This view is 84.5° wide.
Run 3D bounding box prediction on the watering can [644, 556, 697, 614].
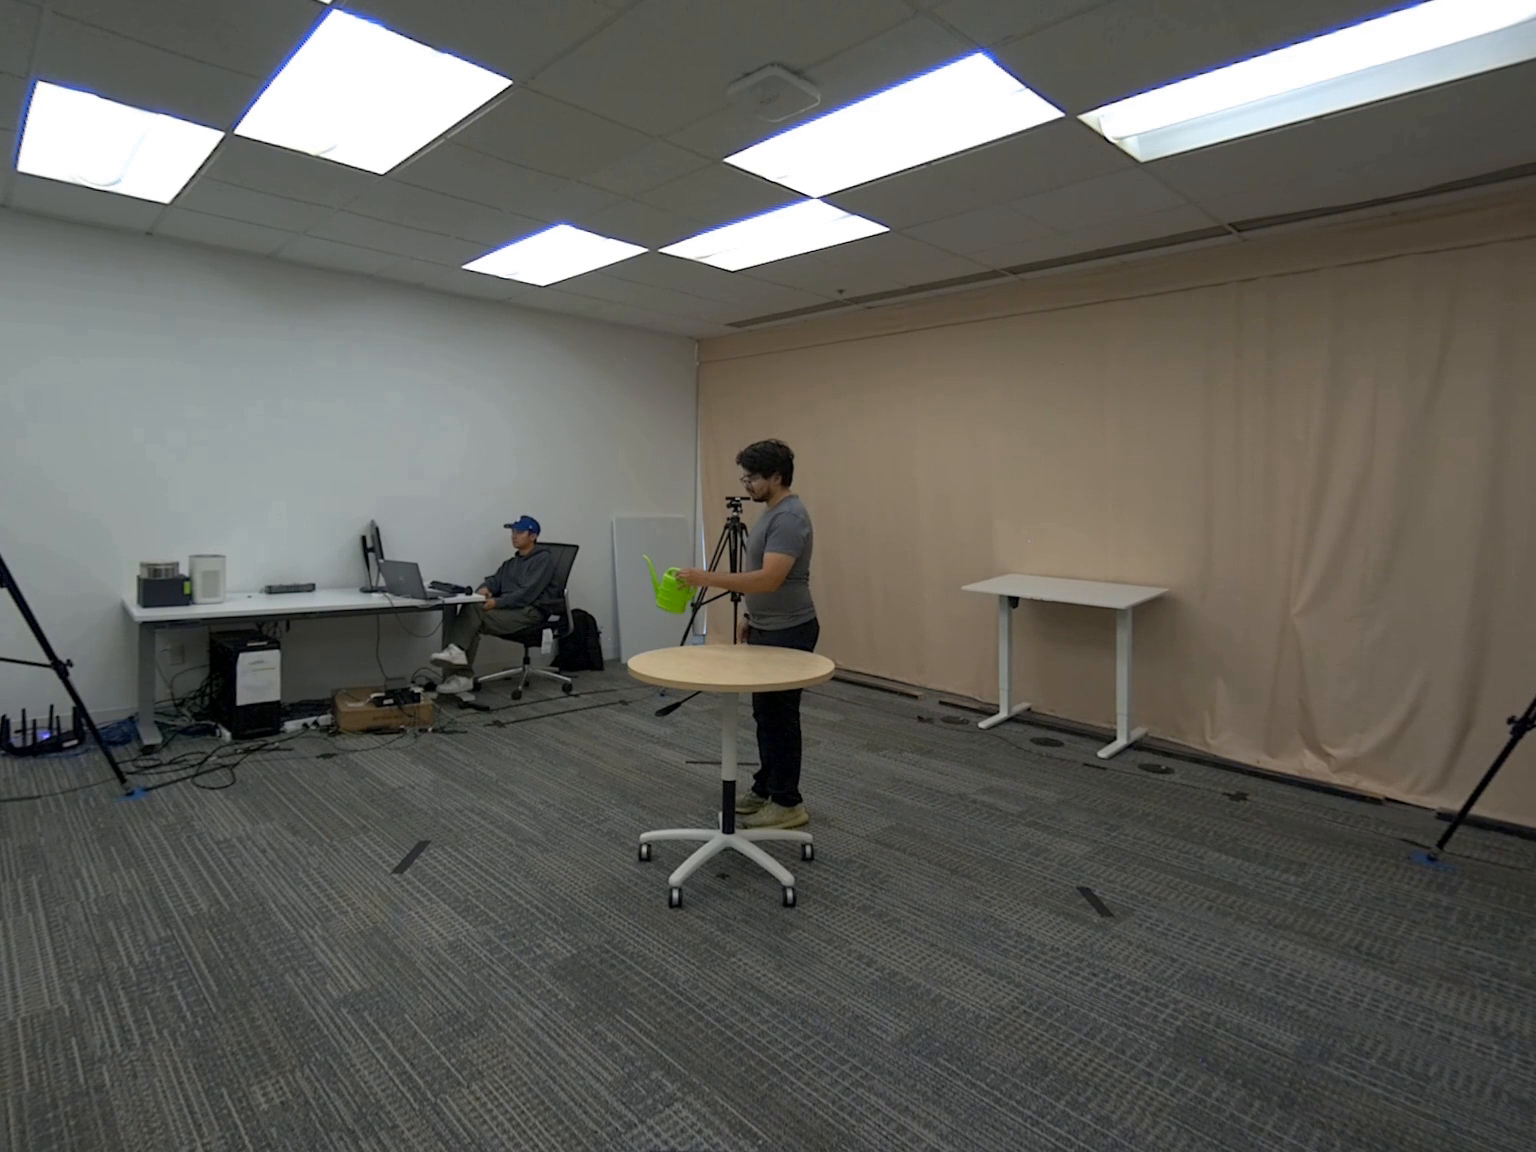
[{"bbox_3d":[-0.425,0.043,3.471,0.286,0.175,0.096,21,14,32],"label":"watering can"}]
